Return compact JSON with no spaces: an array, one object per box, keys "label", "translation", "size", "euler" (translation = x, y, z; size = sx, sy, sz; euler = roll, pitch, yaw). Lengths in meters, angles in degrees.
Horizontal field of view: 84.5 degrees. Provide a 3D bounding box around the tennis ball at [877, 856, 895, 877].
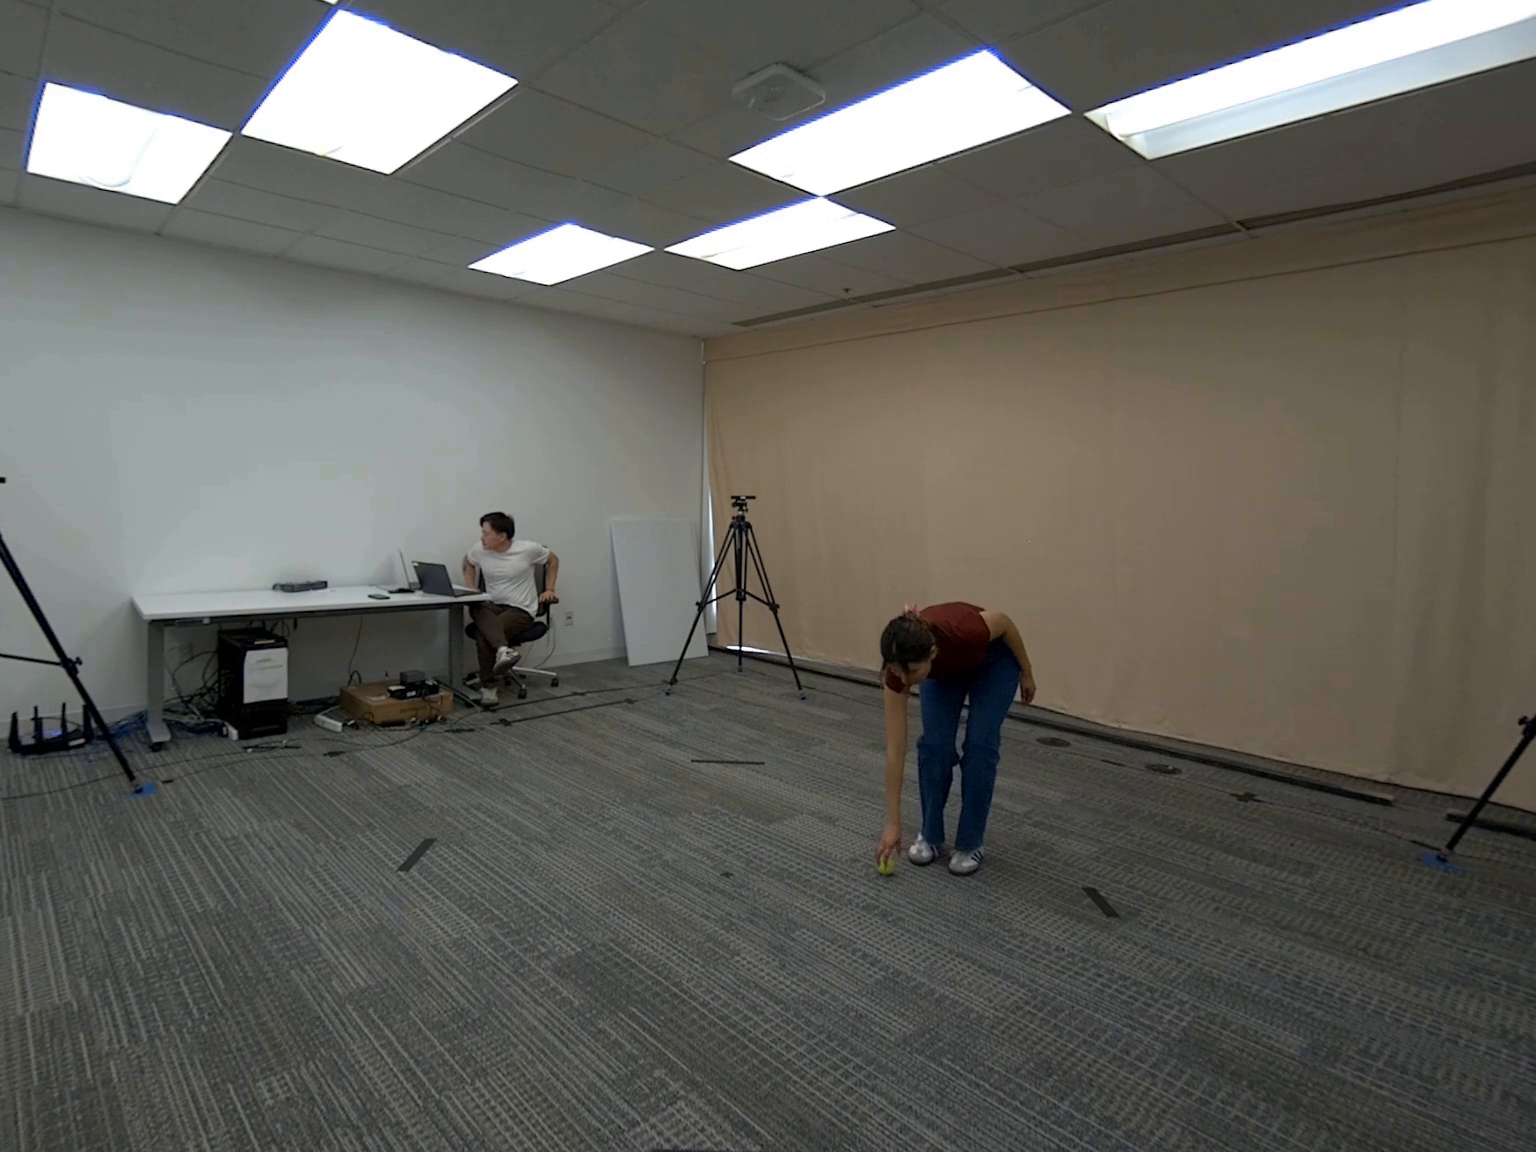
[{"label":"tennis ball","translation":[0.430,1.065,3.147],"size":[0.066,0.066,0.067],"euler":[1,4,-1]}]
